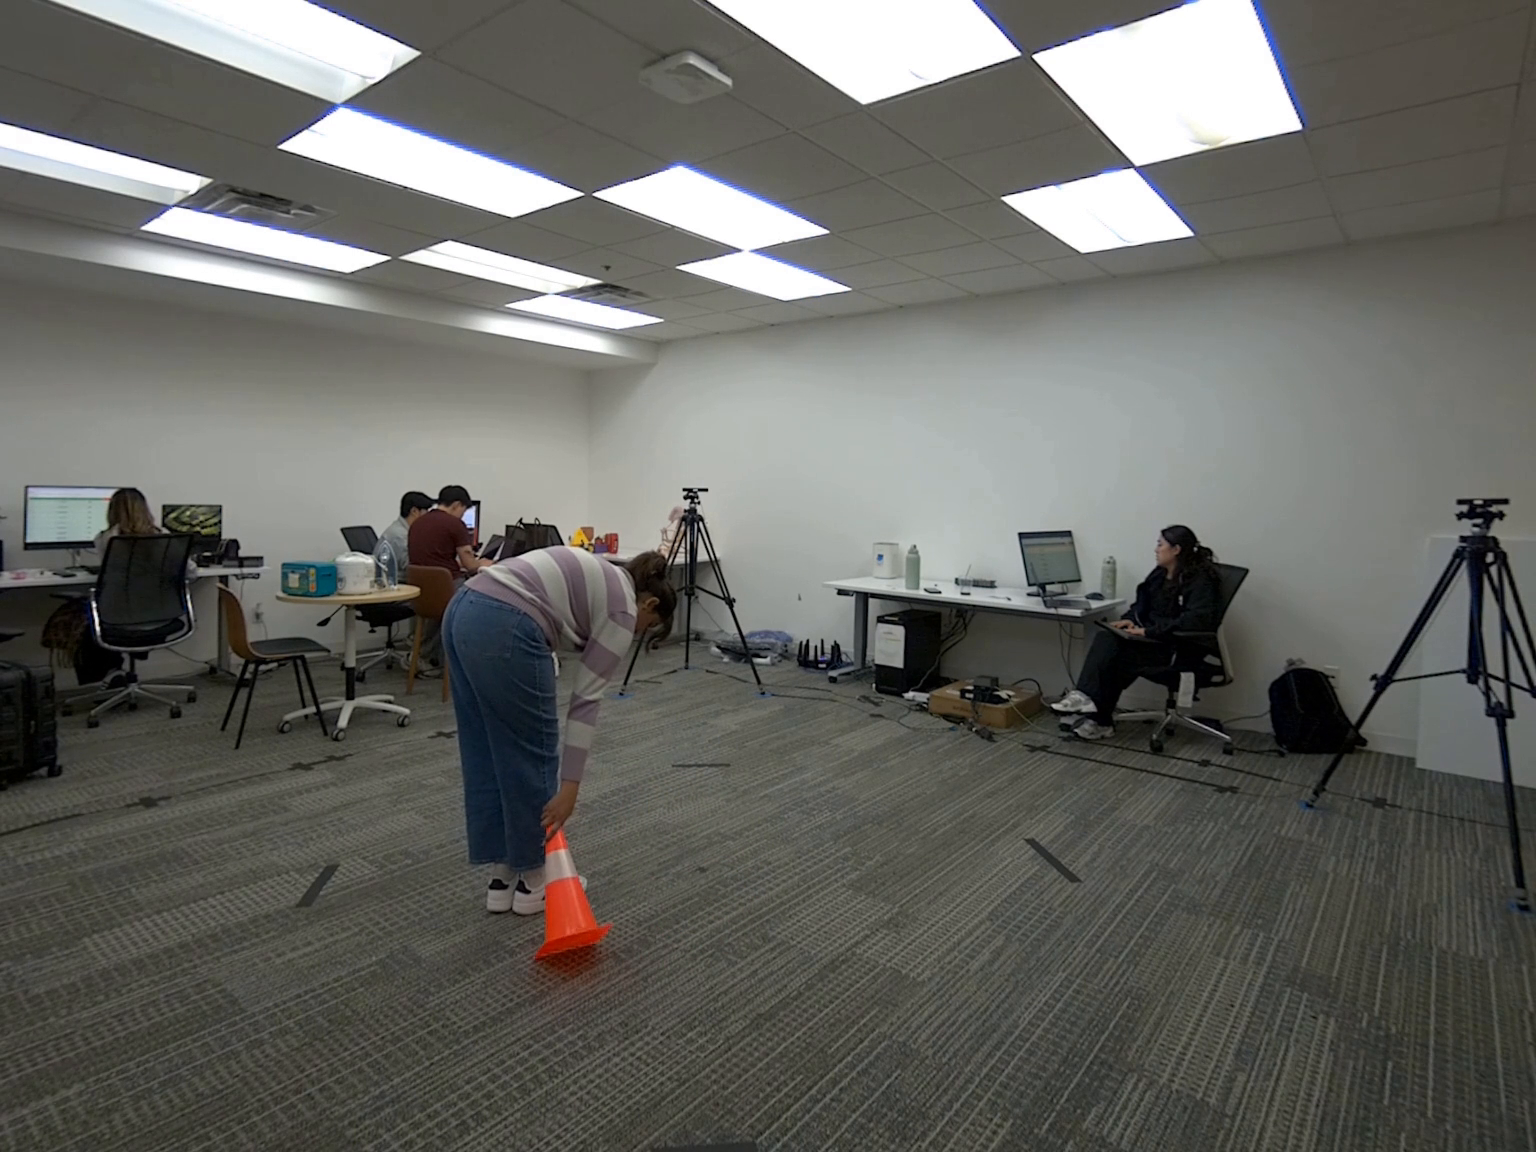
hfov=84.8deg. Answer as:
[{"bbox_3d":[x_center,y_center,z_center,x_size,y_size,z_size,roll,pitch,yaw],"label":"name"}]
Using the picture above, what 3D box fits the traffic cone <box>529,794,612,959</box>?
[{"bbox_3d":[-0.635,0.910,2.567,0.201,0.397,0.200,-8,-34,-22],"label":"traffic cone"}]
